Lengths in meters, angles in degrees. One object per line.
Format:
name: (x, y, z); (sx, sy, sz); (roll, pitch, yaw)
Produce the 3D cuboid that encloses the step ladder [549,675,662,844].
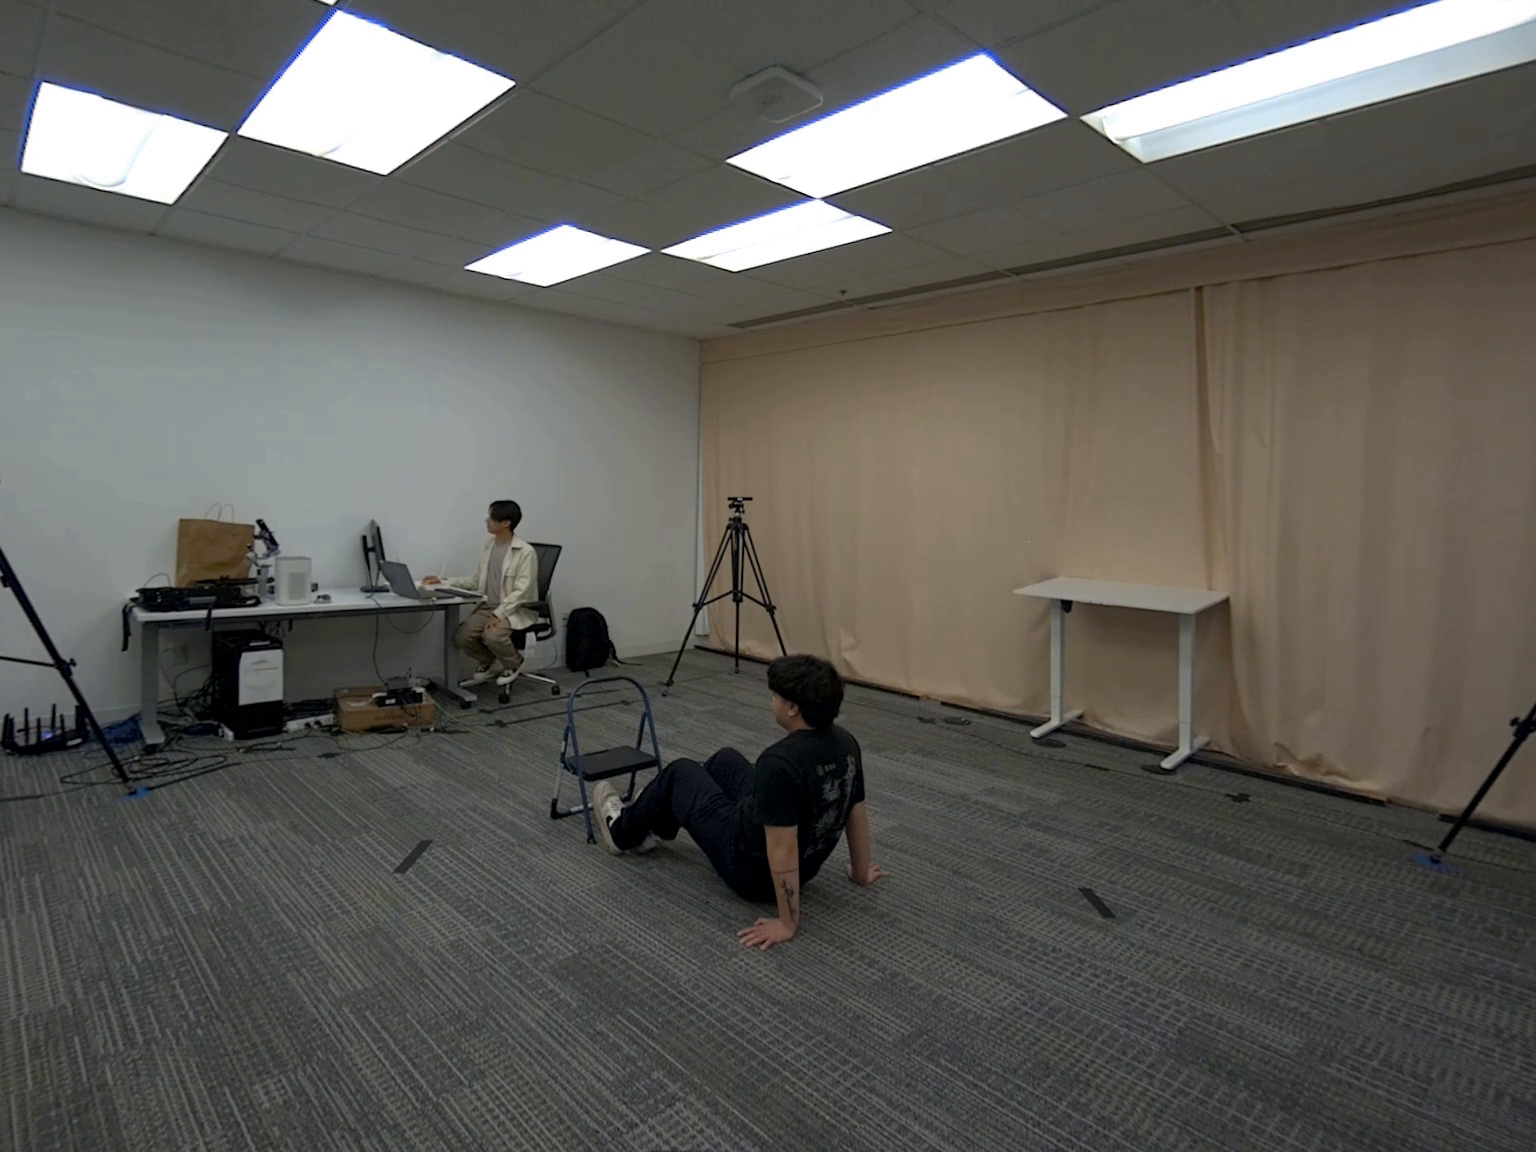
step ladder: (-0.673, 0.748, 3.615); (0.420, 0.605, 0.358); (-1, 4, -43)
